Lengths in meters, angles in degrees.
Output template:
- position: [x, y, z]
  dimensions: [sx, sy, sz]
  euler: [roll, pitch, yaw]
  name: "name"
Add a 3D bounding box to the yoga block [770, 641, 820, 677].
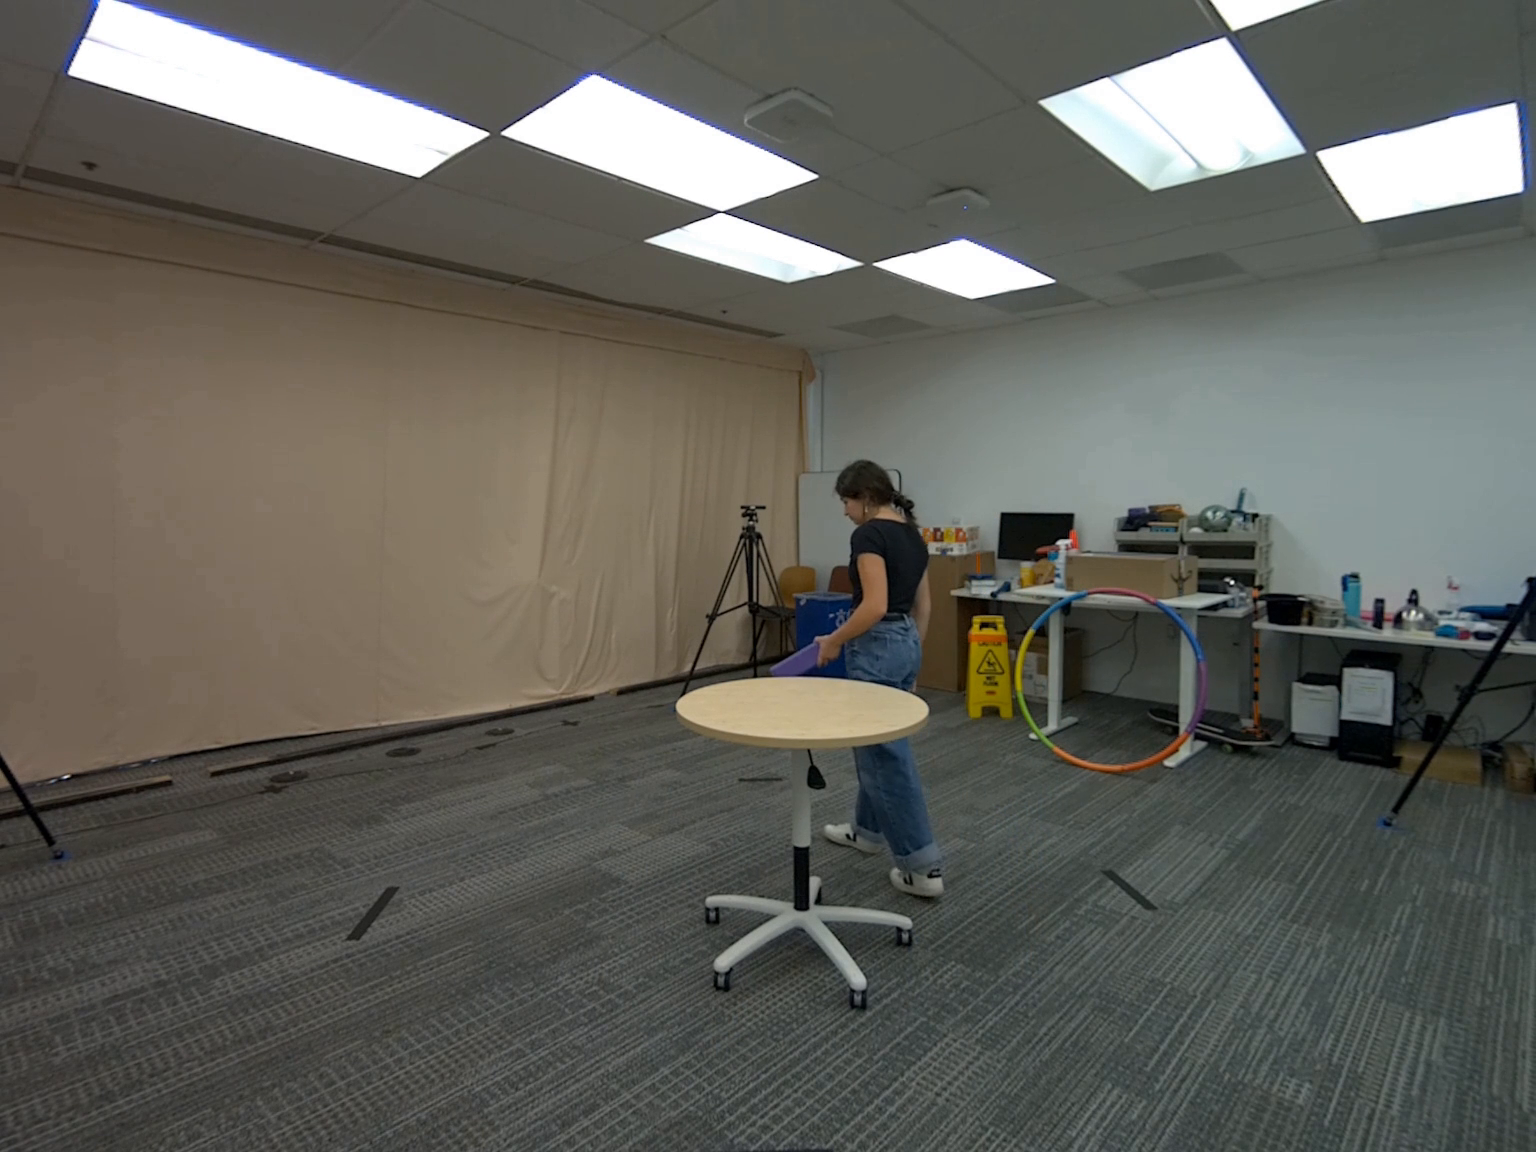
- position: [0.136, 0.334, 3.244]
  dimensions: [0.229, 0.077, 0.148]
  euler: [-30, -4, -1]
  name: "yoga block"
